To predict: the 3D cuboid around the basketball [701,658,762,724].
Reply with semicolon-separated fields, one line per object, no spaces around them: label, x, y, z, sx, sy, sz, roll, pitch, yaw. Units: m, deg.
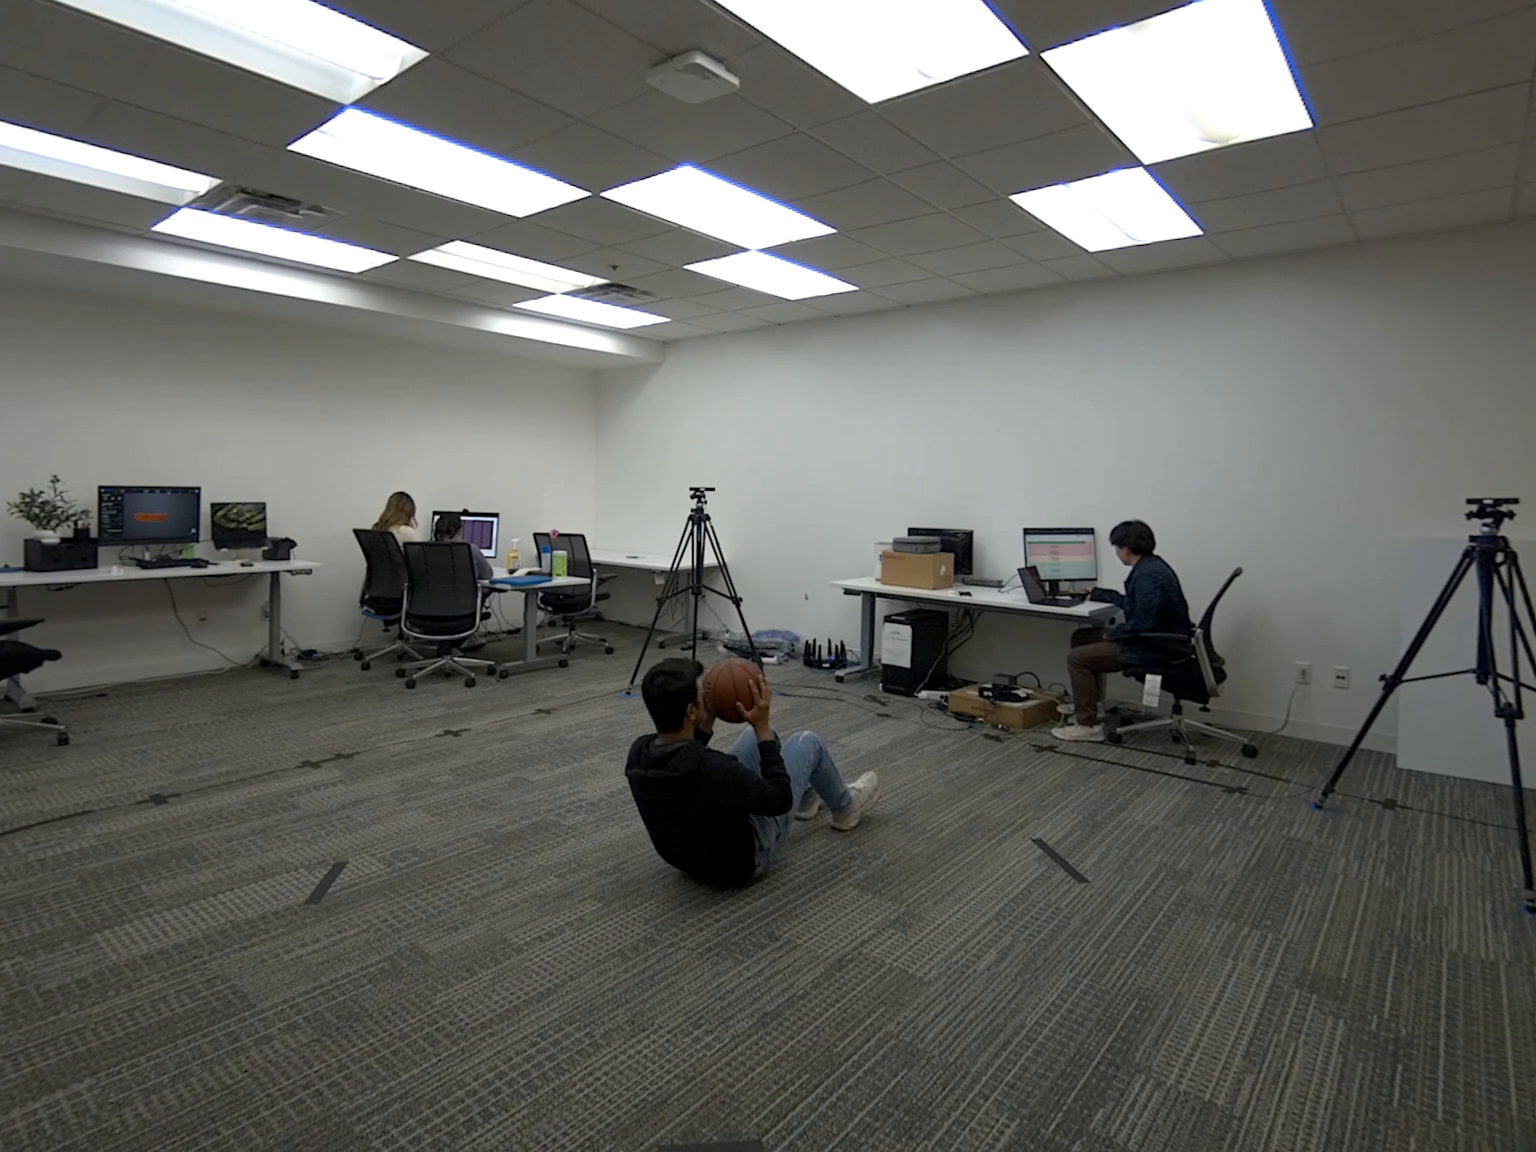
basketball;-0.133;0.423;3.118;0.235;0.235;0.237;1;4;-2
